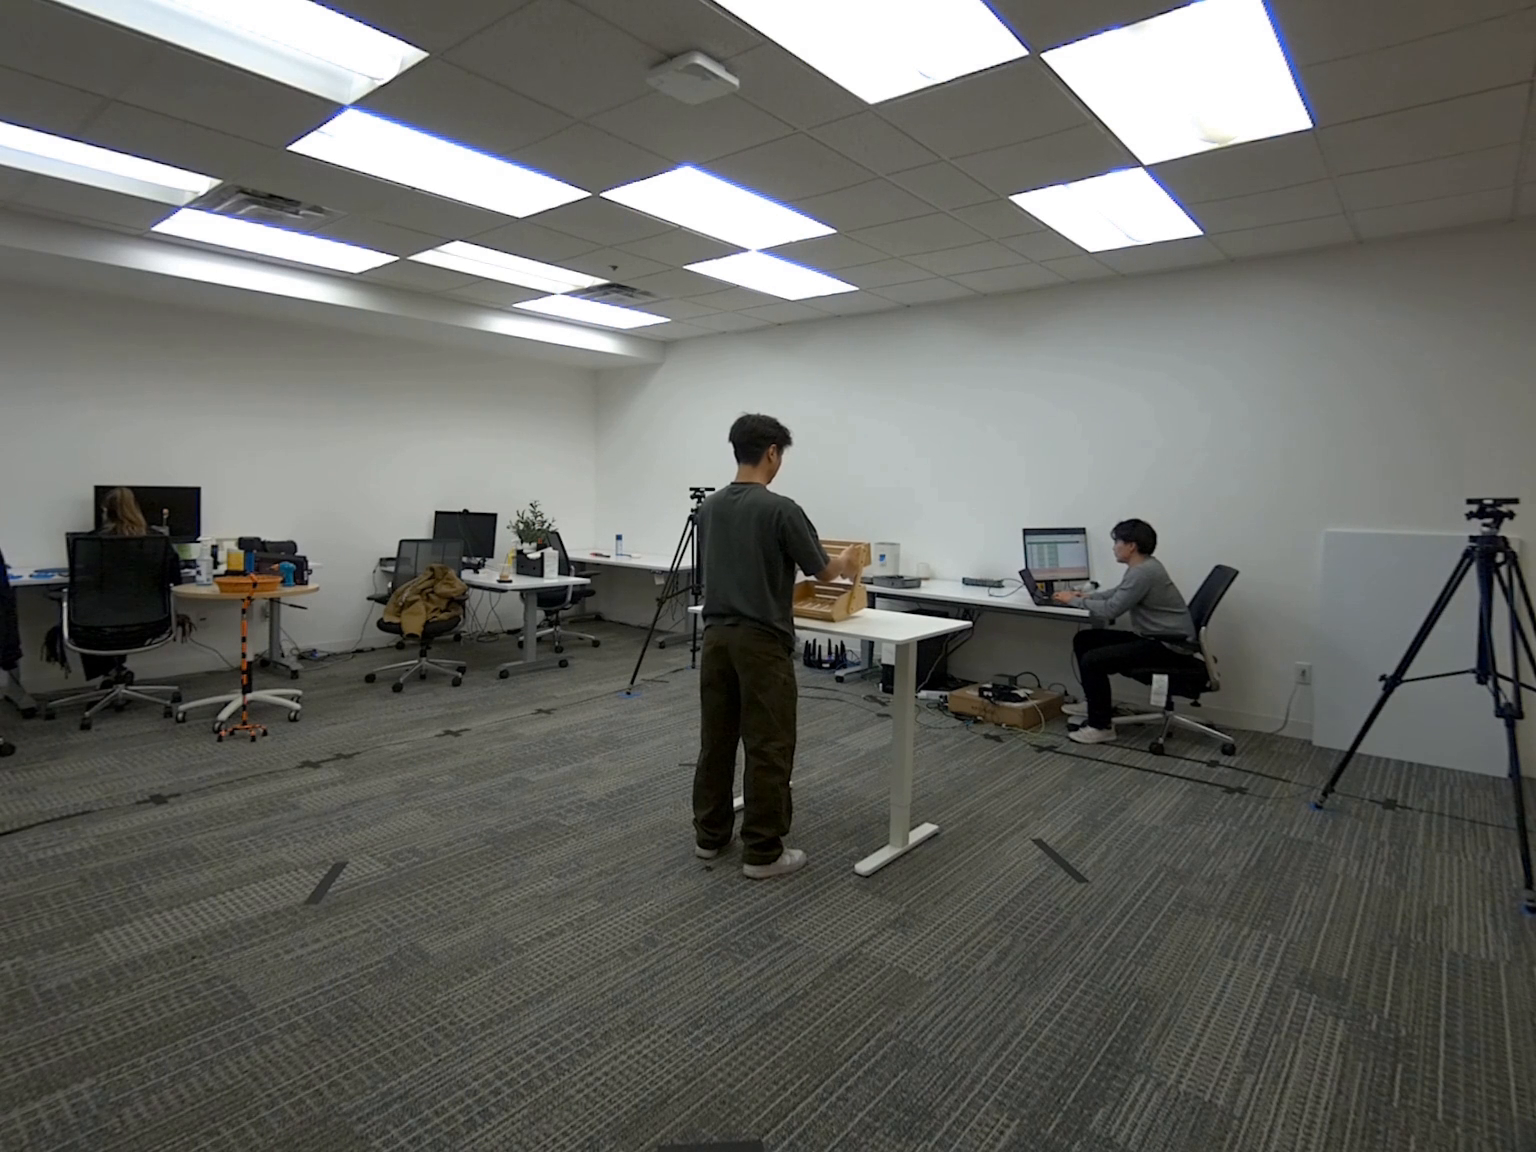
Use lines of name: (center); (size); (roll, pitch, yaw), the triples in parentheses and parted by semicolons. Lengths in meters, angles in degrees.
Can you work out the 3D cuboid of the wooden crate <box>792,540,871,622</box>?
wooden crate: (0.202, 0.003, 3.462); (0.335, 0.270, 0.295); (5, 14, 41)
